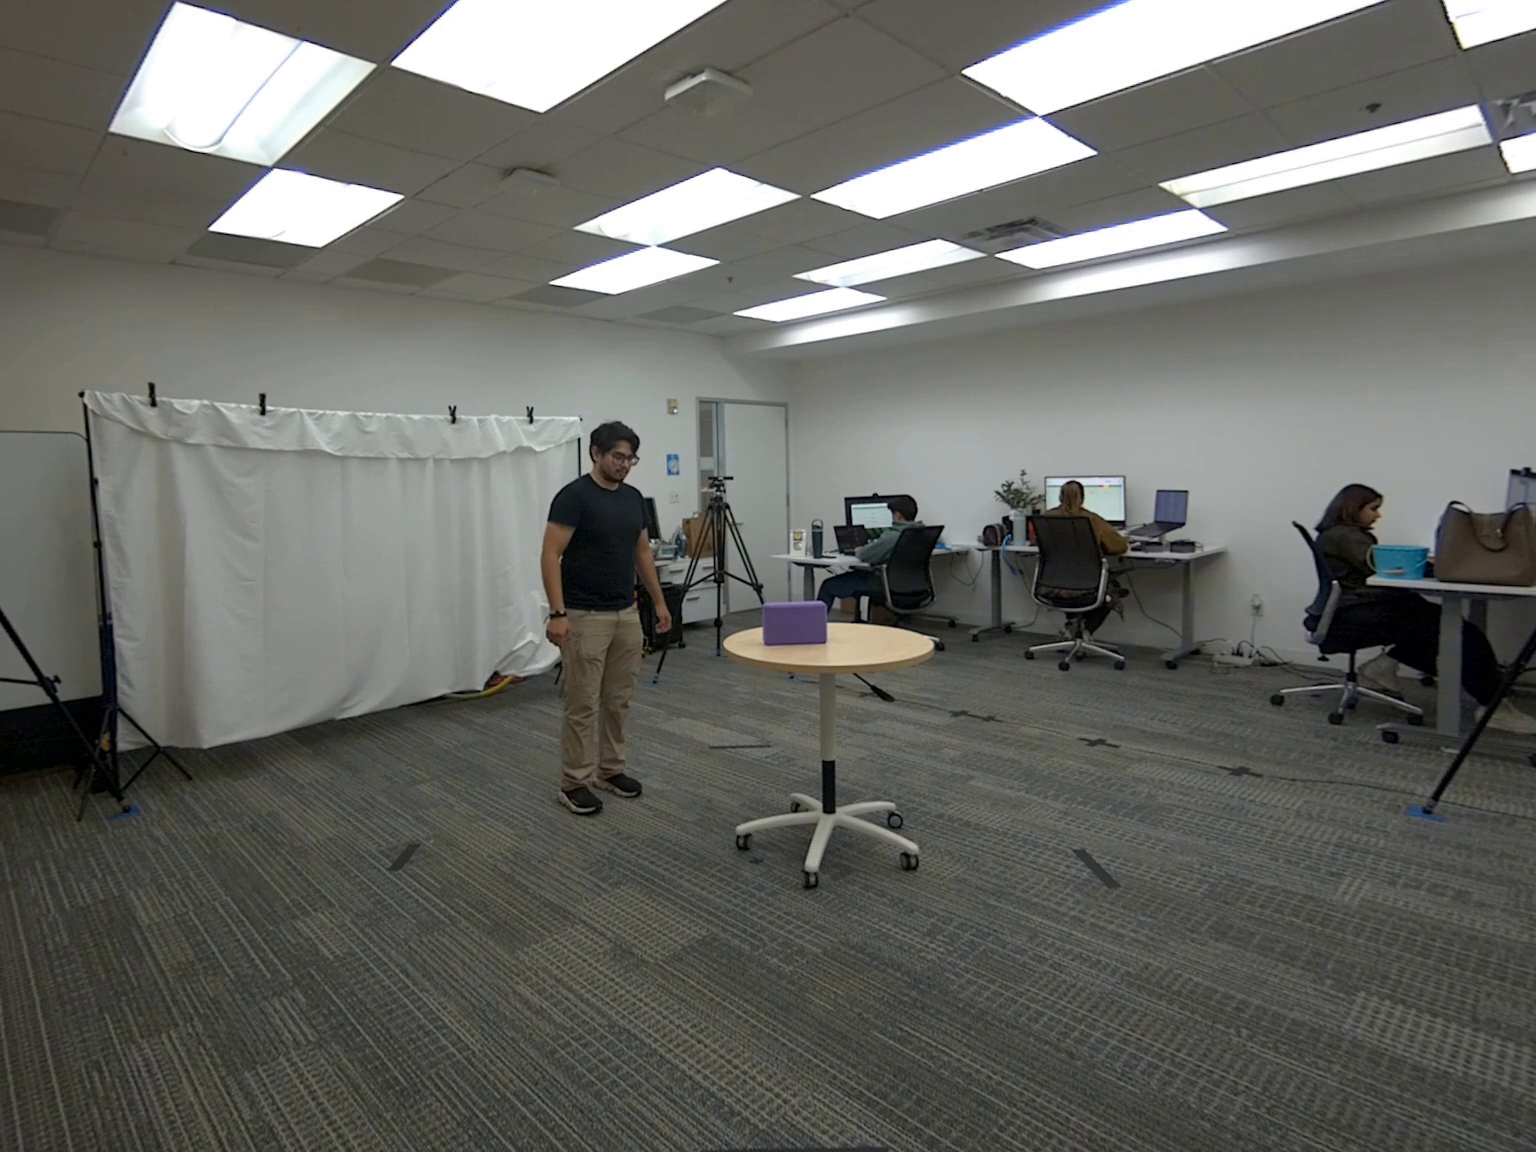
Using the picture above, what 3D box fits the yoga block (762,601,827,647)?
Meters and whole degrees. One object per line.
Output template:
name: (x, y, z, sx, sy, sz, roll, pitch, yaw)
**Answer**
yoga block: (0.102, 0.171, 3.136, 0.229, 0.148, 0.077, -2, 3, -2)
